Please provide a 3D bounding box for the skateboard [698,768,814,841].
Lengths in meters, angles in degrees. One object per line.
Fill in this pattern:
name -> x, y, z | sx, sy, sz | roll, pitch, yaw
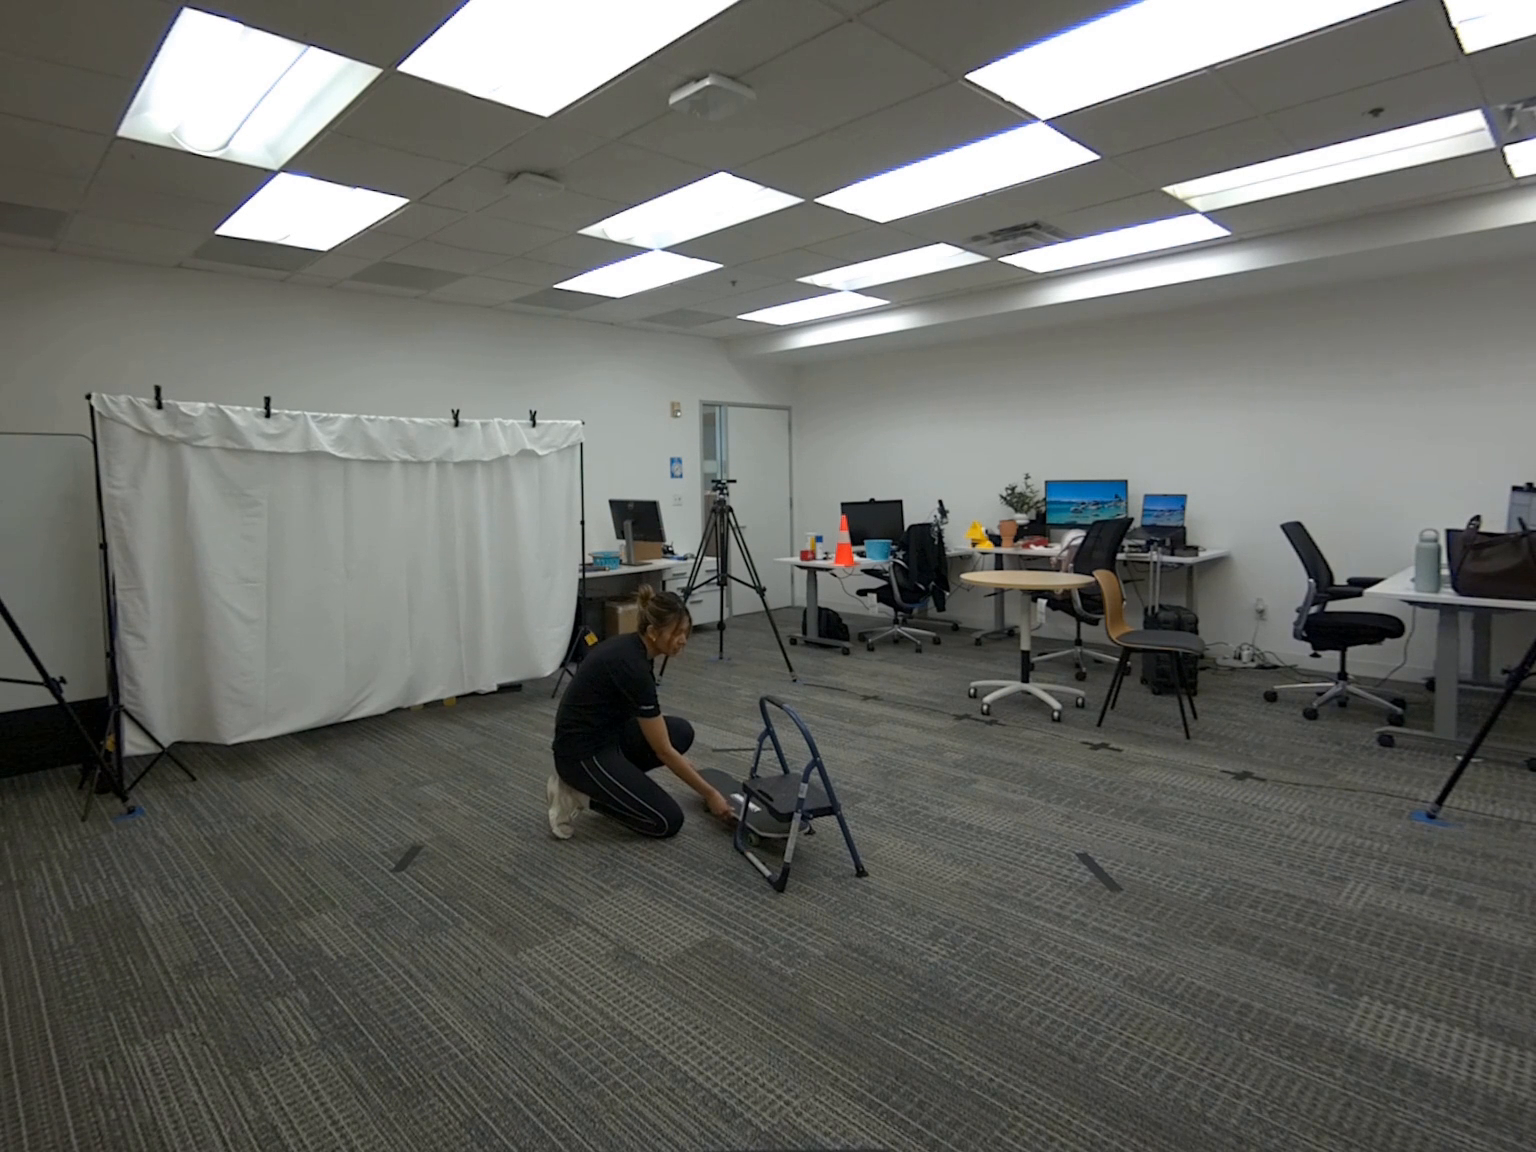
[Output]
skateboard -> -0.089, 0.948, 3.474 | 0.189, 0.110, 0.807 | -1, 5, -30
